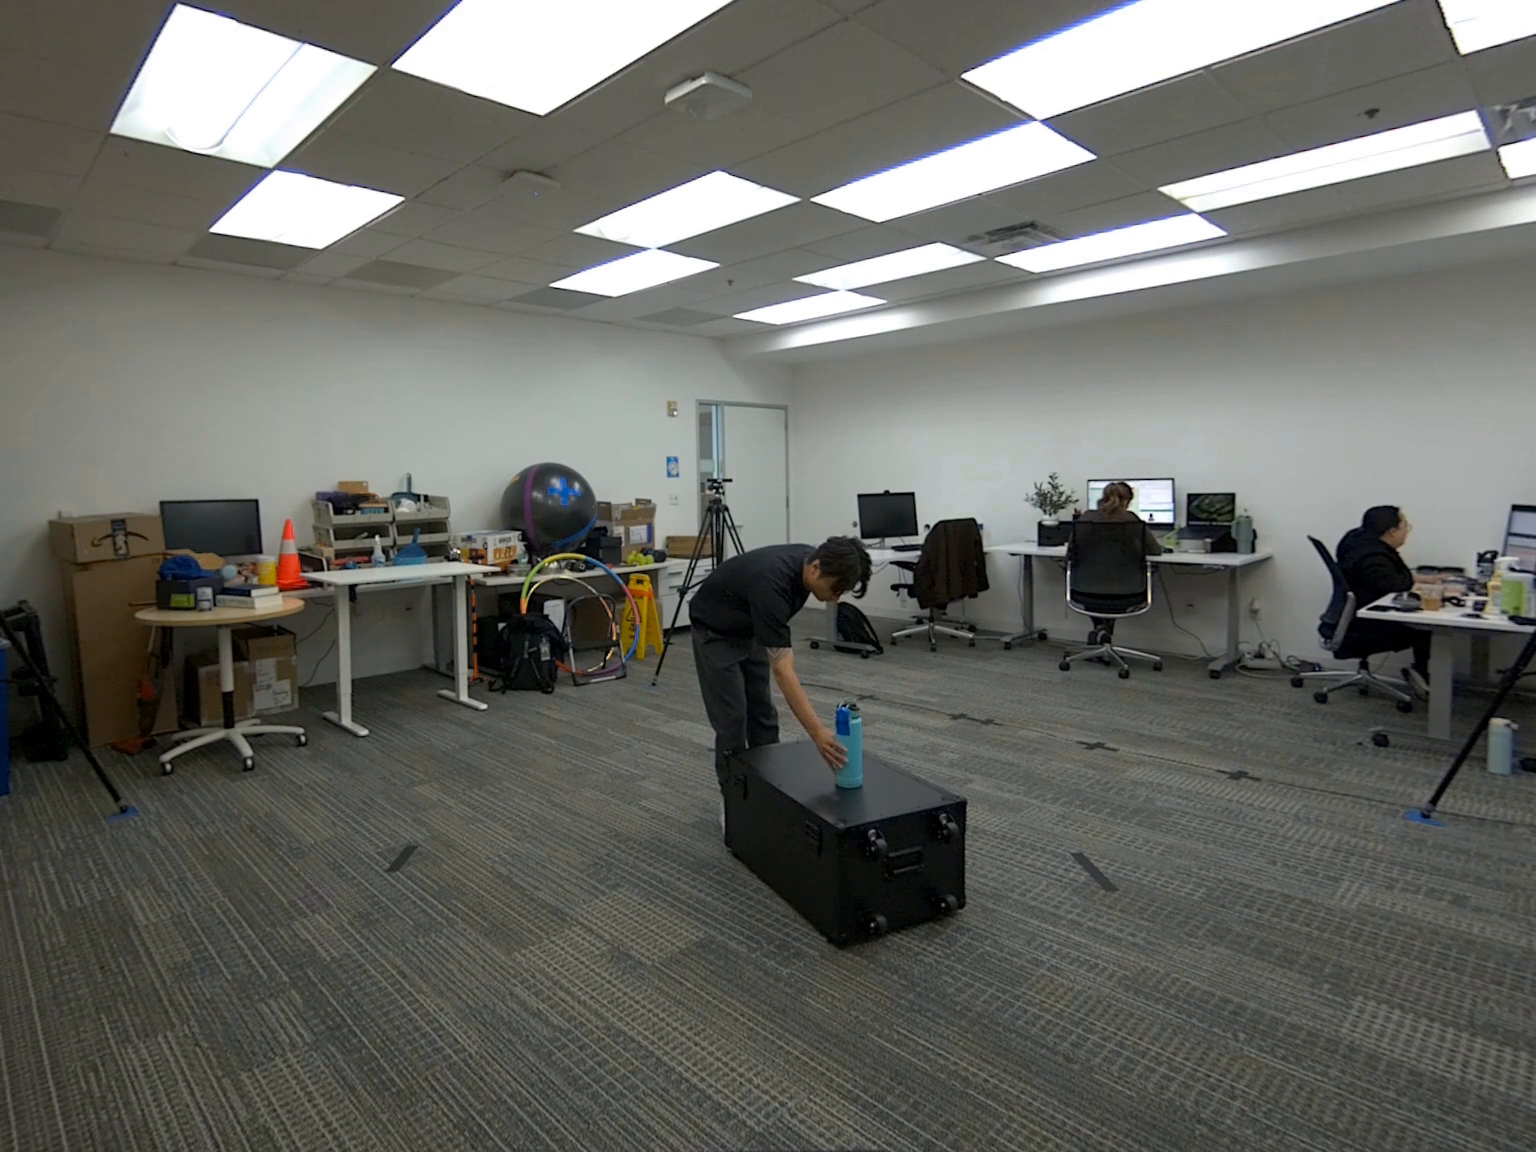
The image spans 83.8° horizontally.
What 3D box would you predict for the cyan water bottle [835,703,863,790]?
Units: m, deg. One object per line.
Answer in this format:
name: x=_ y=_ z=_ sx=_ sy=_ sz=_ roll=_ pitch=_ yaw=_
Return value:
cyan water bottle: x=0.272 y=0.555 z=2.852 sx=0.092 sy=0.282 sz=0.093 roll=-1 pitch=6 yaw=-2
